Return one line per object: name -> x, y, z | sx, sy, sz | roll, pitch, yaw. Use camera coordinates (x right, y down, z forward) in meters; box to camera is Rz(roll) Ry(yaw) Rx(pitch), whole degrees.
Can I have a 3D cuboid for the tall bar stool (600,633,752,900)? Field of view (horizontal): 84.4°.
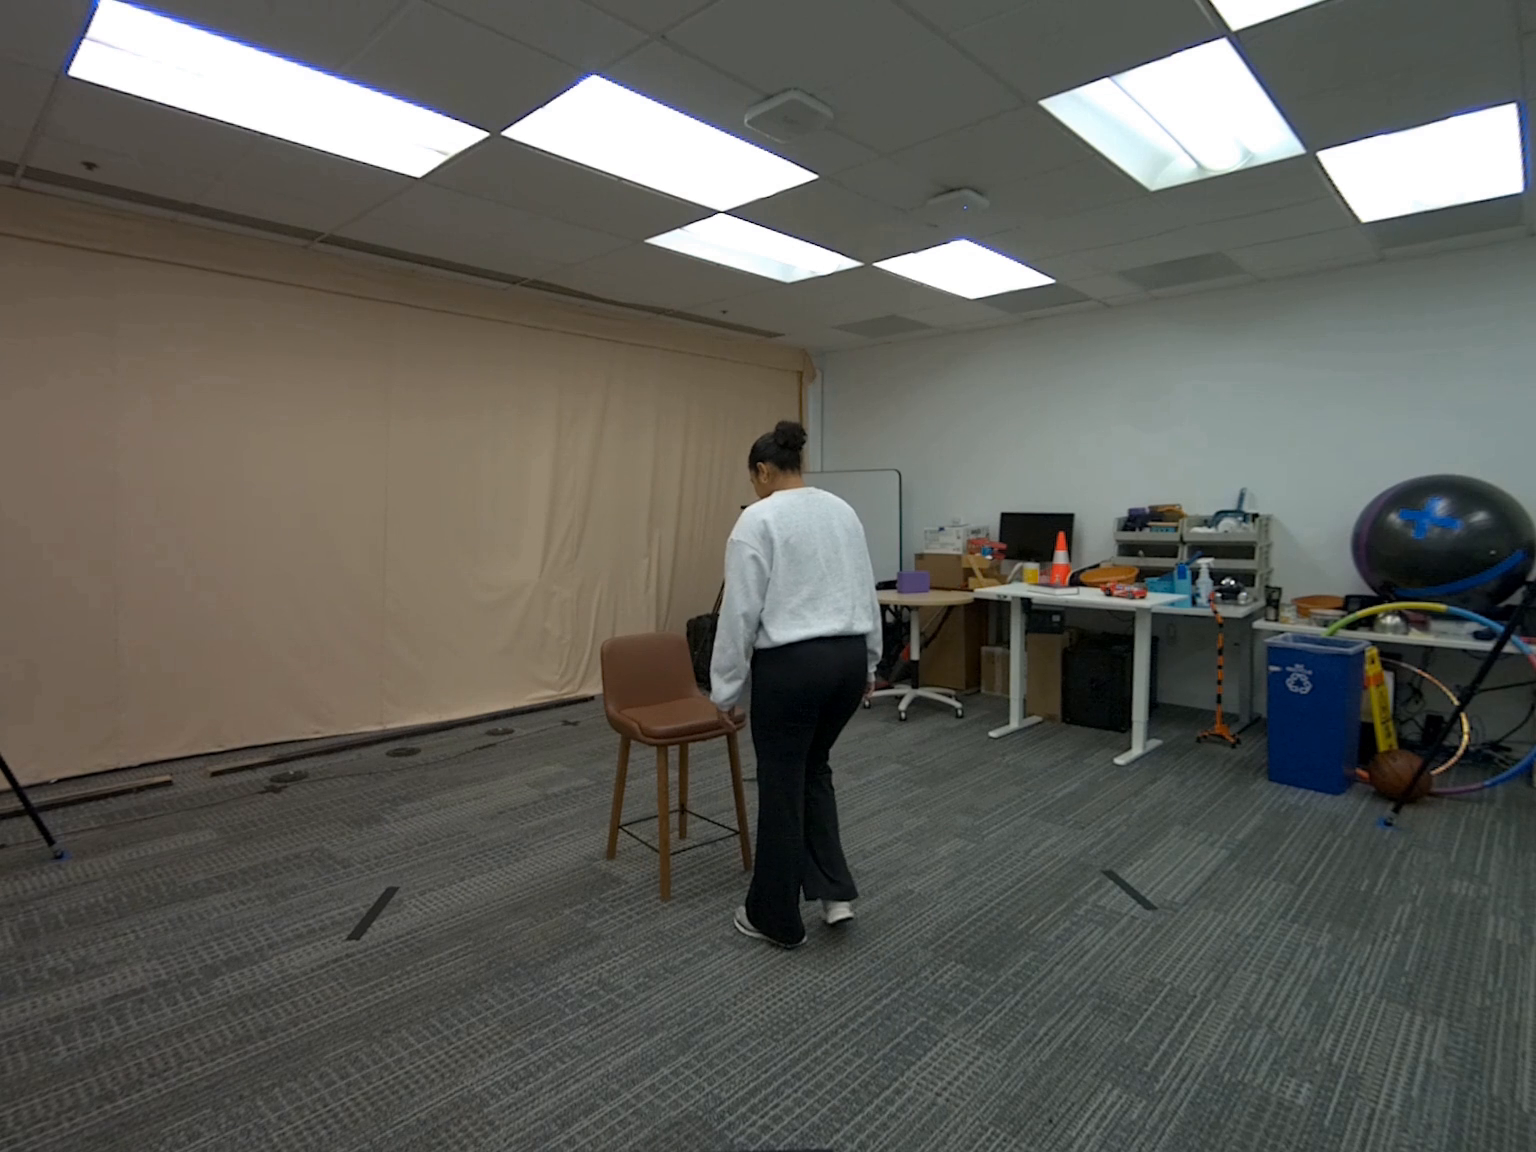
tall bar stool -> -0.366, 0.689, 3.253 | 0.443, 0.889, 0.482 | -3, 2, -38
